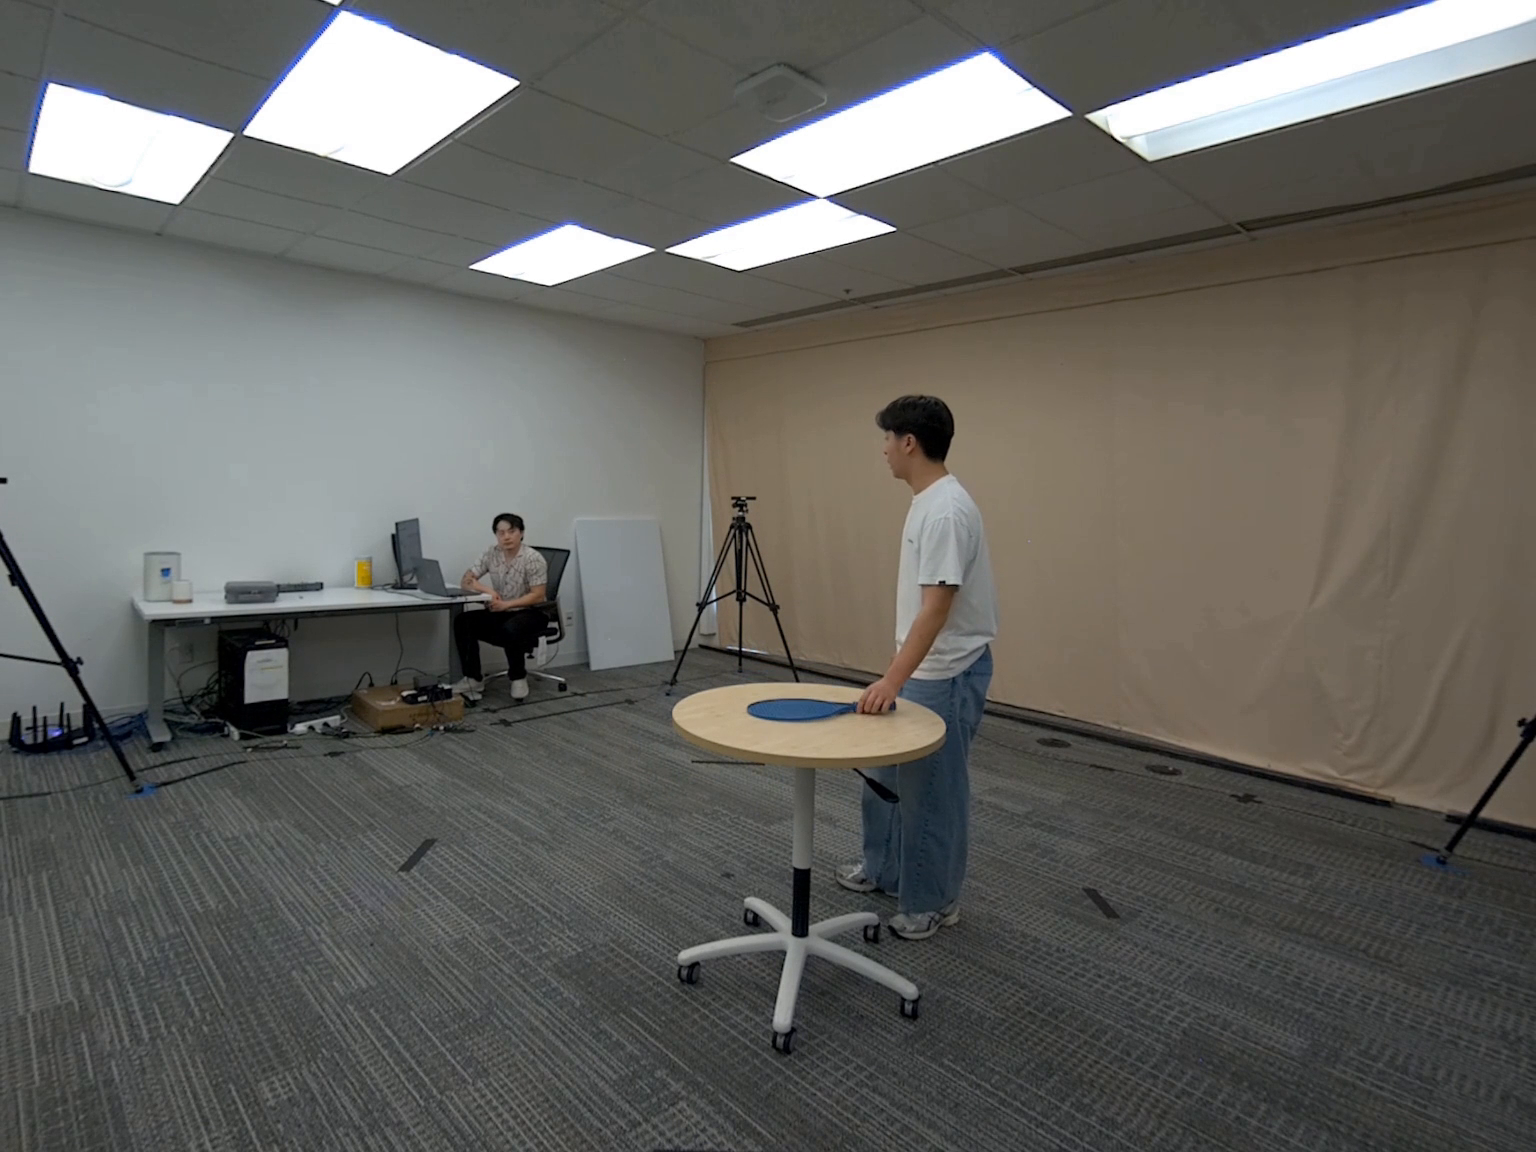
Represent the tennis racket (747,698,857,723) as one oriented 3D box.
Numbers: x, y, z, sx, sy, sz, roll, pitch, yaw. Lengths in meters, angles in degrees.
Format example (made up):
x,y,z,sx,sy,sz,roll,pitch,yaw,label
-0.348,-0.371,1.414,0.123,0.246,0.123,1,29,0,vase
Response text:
x,y,z,sx,sy,sz,roll,pitch,yaw,label
0.154,0.381,2.431,0.430,0.031,0.216,-1,7,-7,tennis racket
